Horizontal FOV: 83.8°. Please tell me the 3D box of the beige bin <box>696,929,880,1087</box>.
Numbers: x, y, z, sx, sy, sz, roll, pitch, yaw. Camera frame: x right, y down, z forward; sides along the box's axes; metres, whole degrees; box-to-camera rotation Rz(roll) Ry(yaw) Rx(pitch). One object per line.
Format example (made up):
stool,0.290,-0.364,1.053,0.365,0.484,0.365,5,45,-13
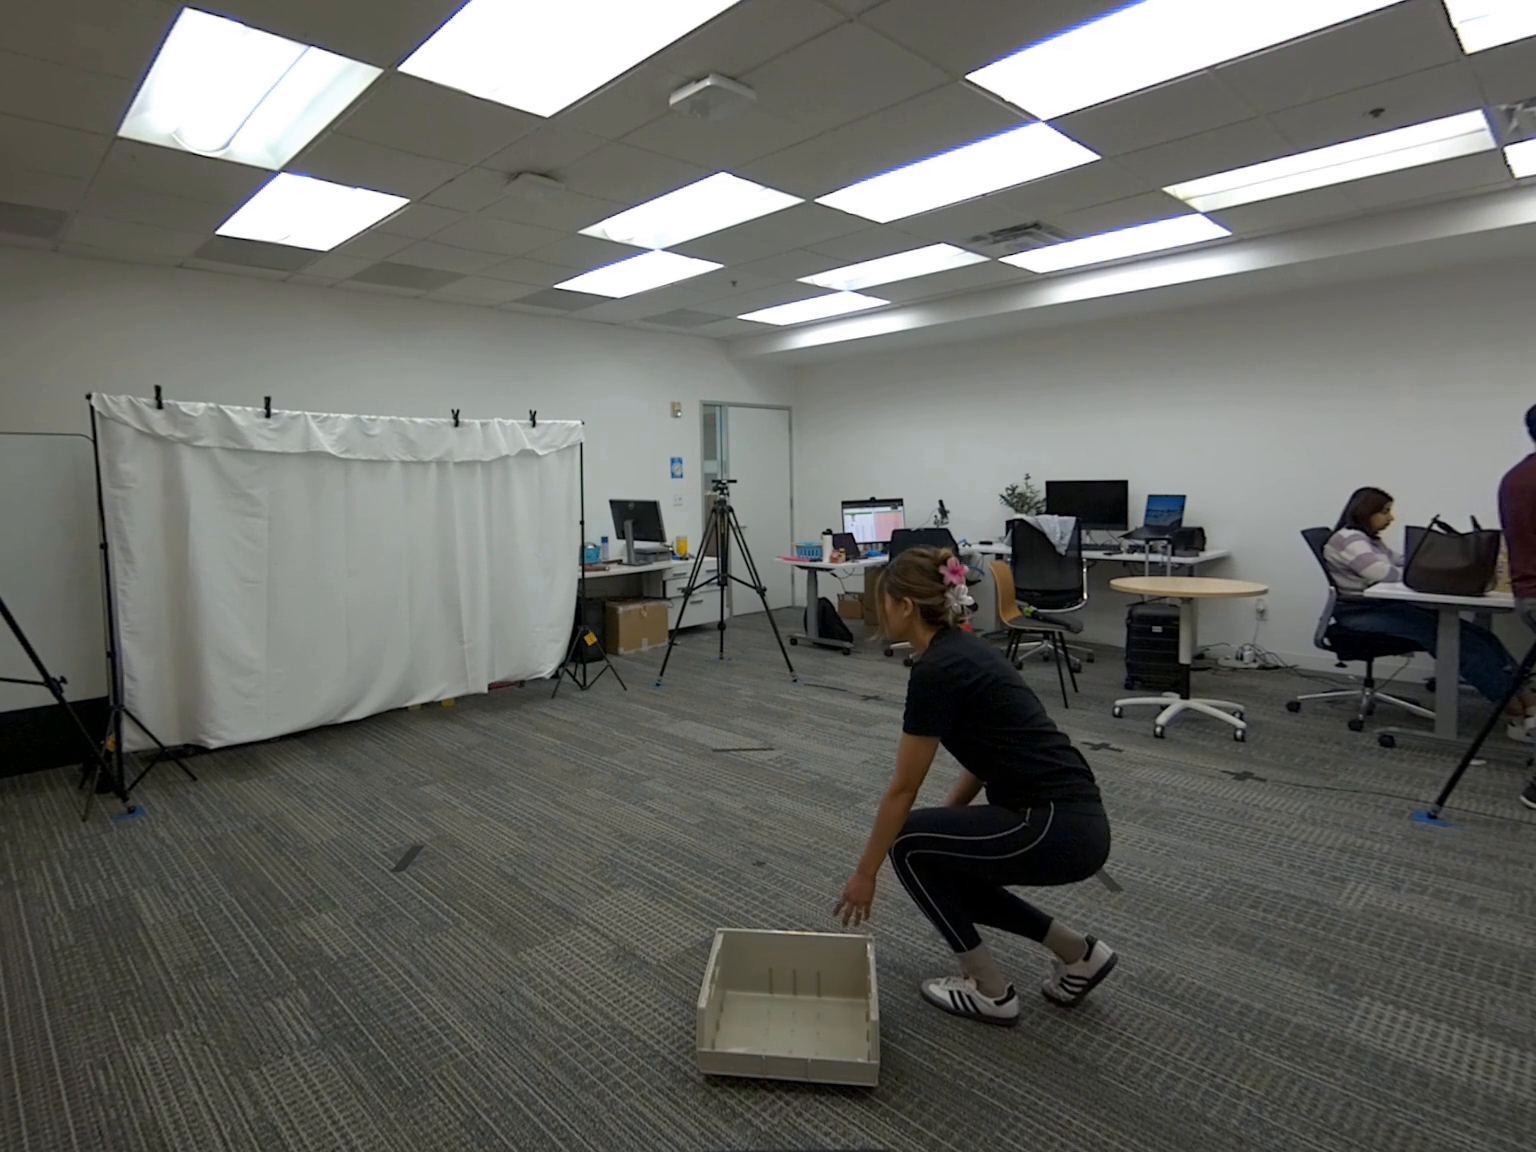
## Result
beige bin,0.065,1.079,2.107,0.425,0.188,0.376,0,5,6
